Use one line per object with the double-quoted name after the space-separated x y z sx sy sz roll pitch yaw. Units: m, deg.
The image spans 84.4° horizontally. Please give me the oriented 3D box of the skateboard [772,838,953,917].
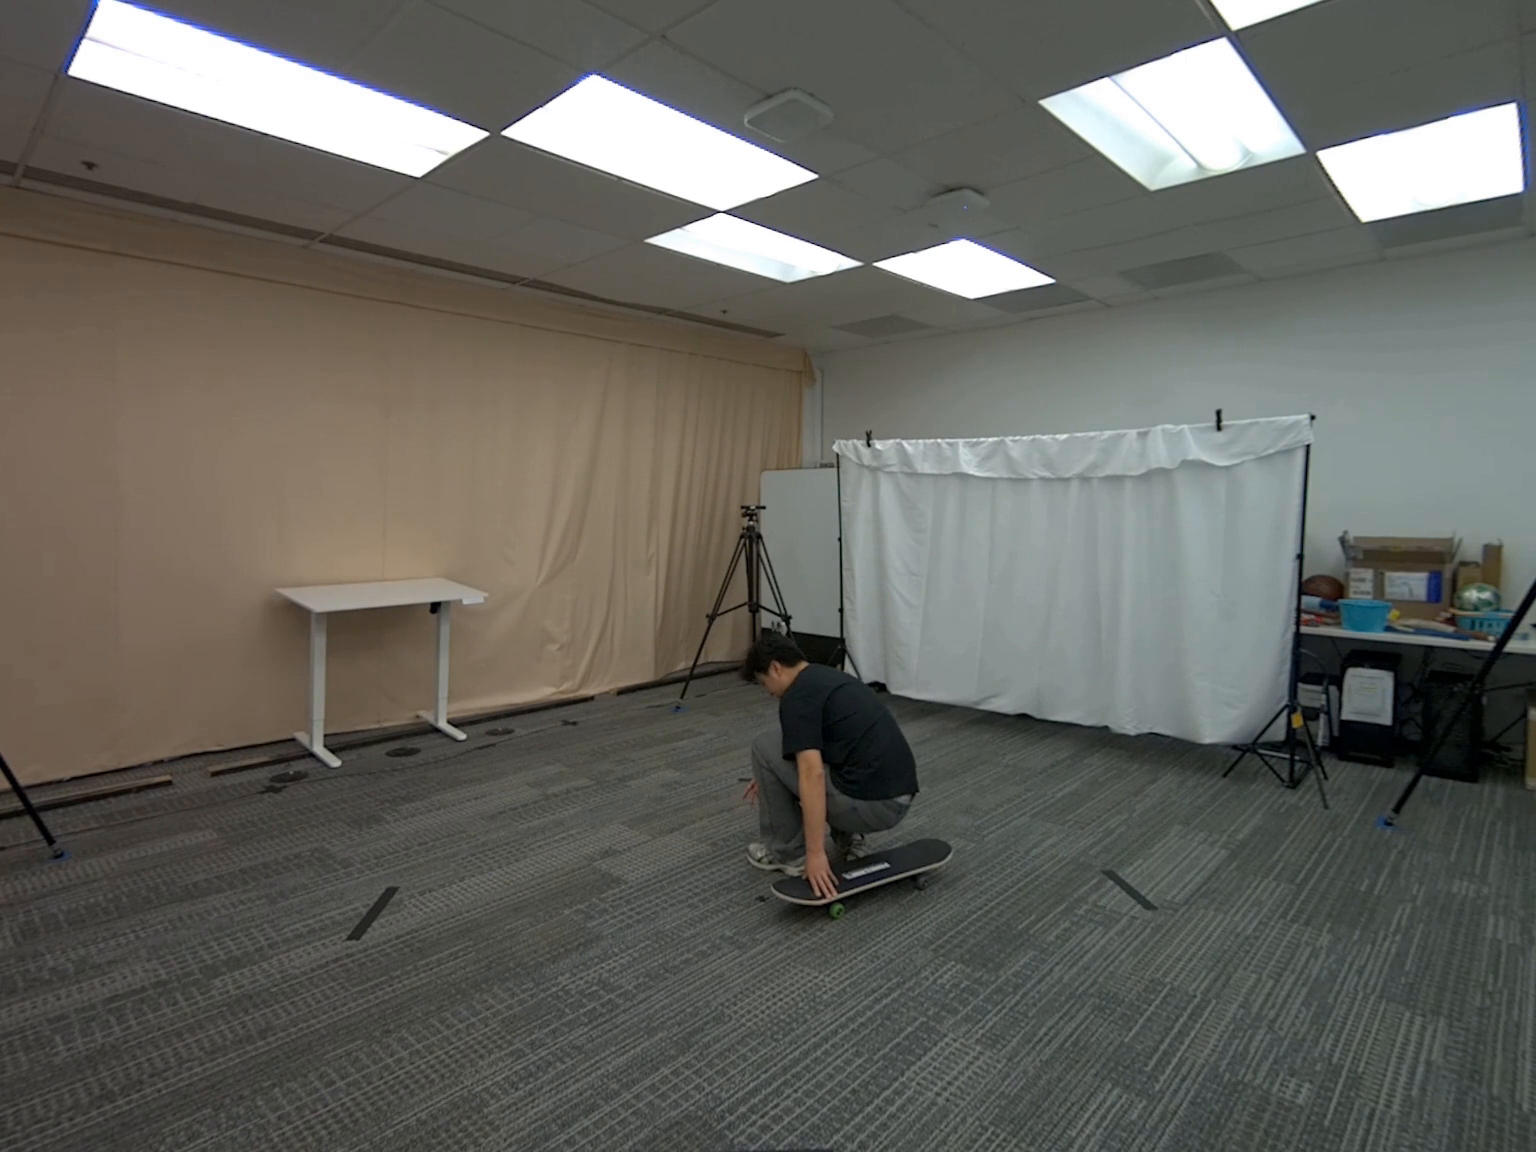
0.353 1.080 3.010 0.764 0.110 0.199 -4 6 -33 "skateboard"
